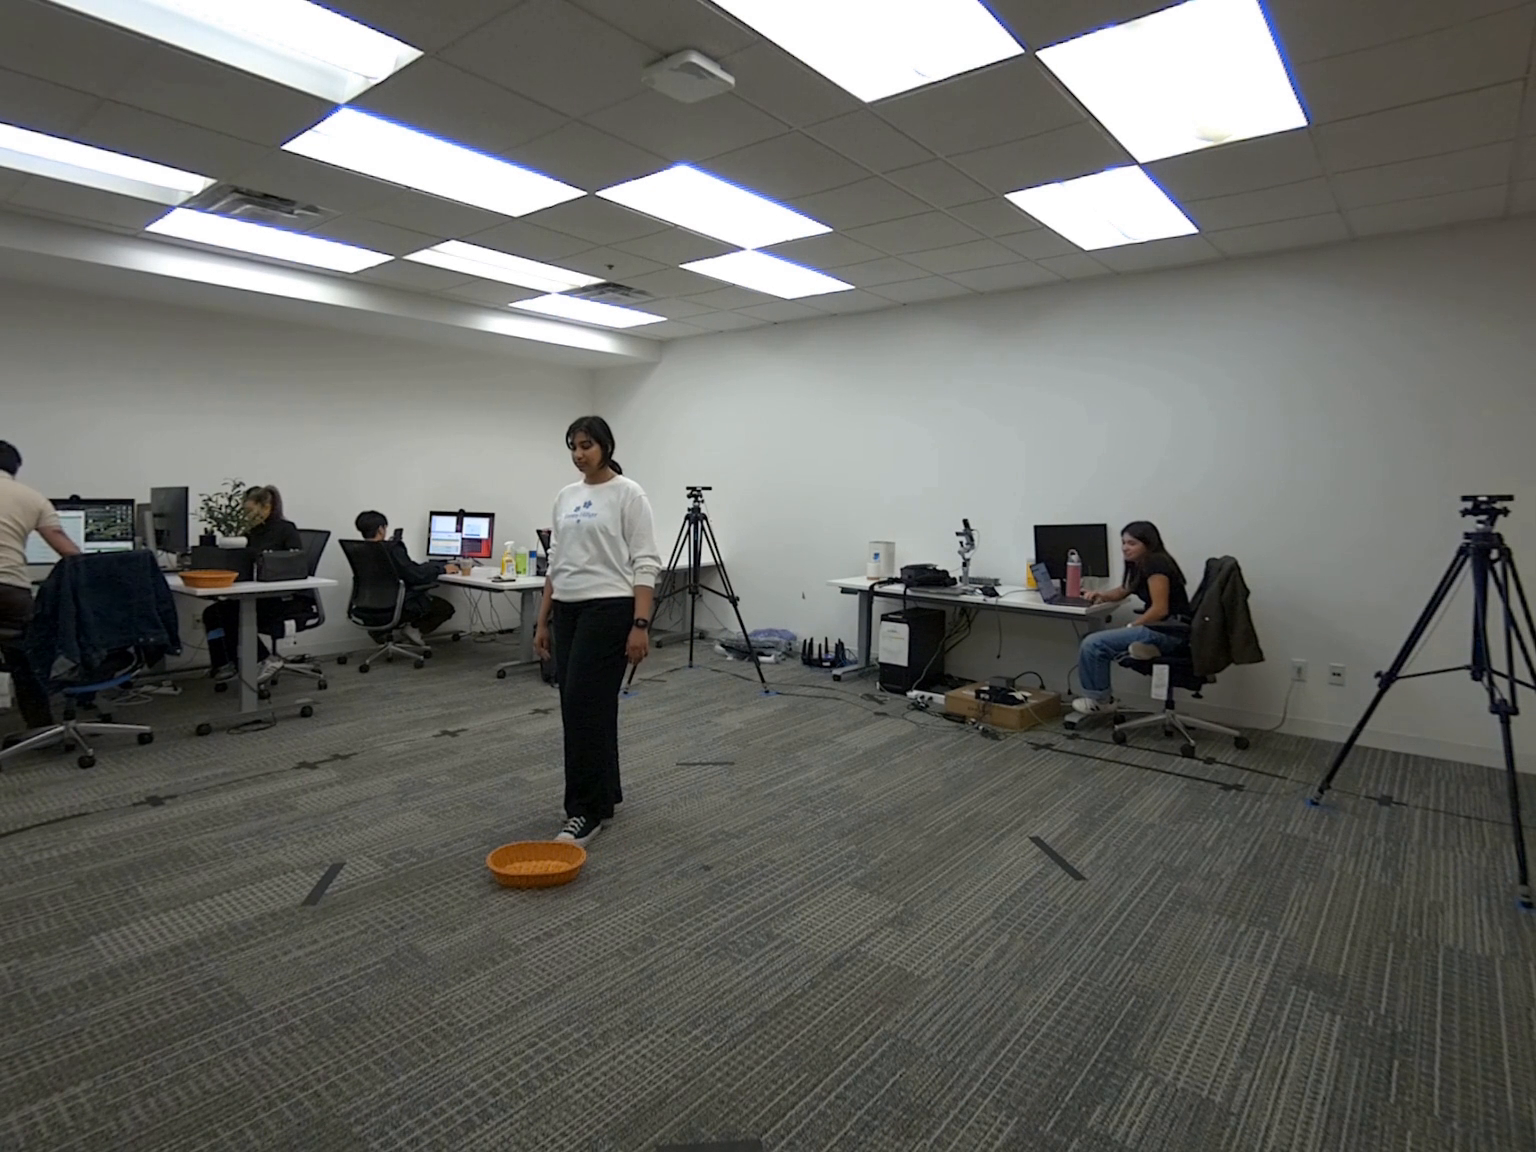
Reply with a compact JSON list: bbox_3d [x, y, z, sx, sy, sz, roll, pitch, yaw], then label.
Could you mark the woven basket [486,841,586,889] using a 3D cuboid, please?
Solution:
[{"bbox_3d":[-0.825,1.024,3.025,0.349,0.073,0.255,1,7,-5],"label":"woven basket"}]
